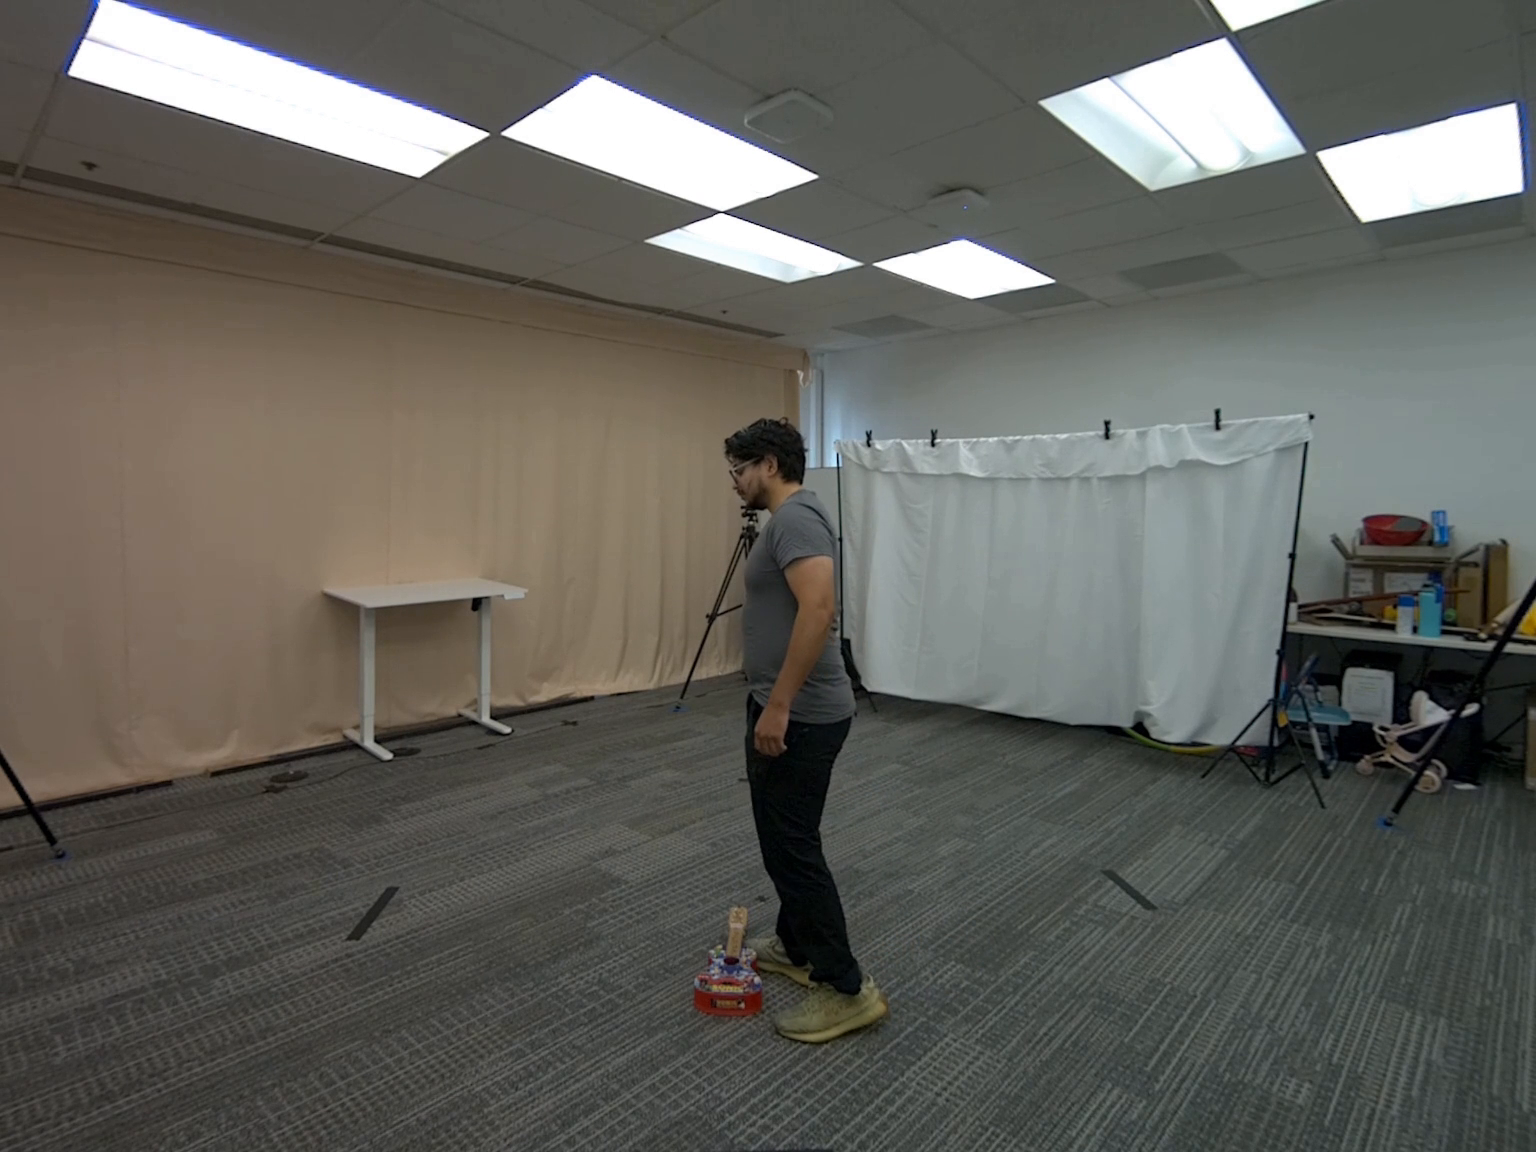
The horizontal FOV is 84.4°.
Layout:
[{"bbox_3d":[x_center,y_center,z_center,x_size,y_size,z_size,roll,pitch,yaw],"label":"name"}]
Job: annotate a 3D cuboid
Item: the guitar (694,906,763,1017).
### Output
[{"bbox_3d":[-0.071,1.143,2.541,0.196,0.070,0.492,0,5,12],"label":"guitar"}]
